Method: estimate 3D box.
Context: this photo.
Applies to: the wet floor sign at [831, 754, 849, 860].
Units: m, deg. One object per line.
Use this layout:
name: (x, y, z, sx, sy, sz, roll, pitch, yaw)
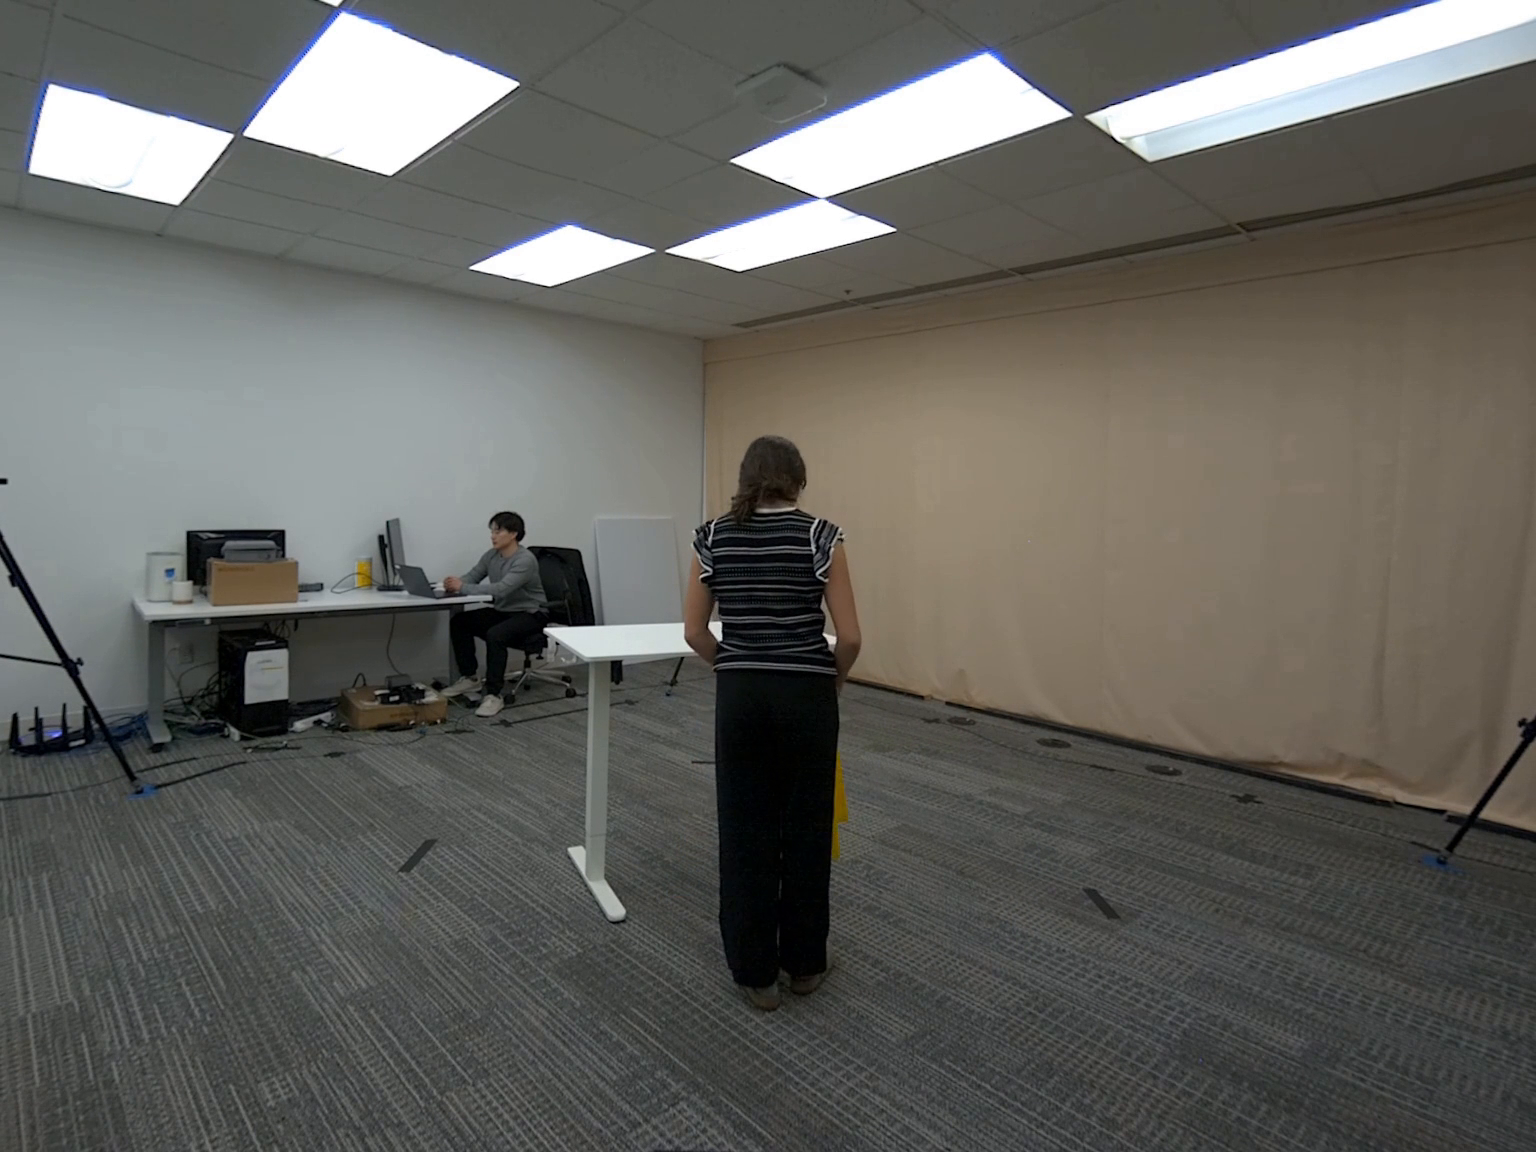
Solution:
wet floor sign: (0.076, 0.498, 2.537, 0.285, 0.642, 0.288, -1, 8, 14)
